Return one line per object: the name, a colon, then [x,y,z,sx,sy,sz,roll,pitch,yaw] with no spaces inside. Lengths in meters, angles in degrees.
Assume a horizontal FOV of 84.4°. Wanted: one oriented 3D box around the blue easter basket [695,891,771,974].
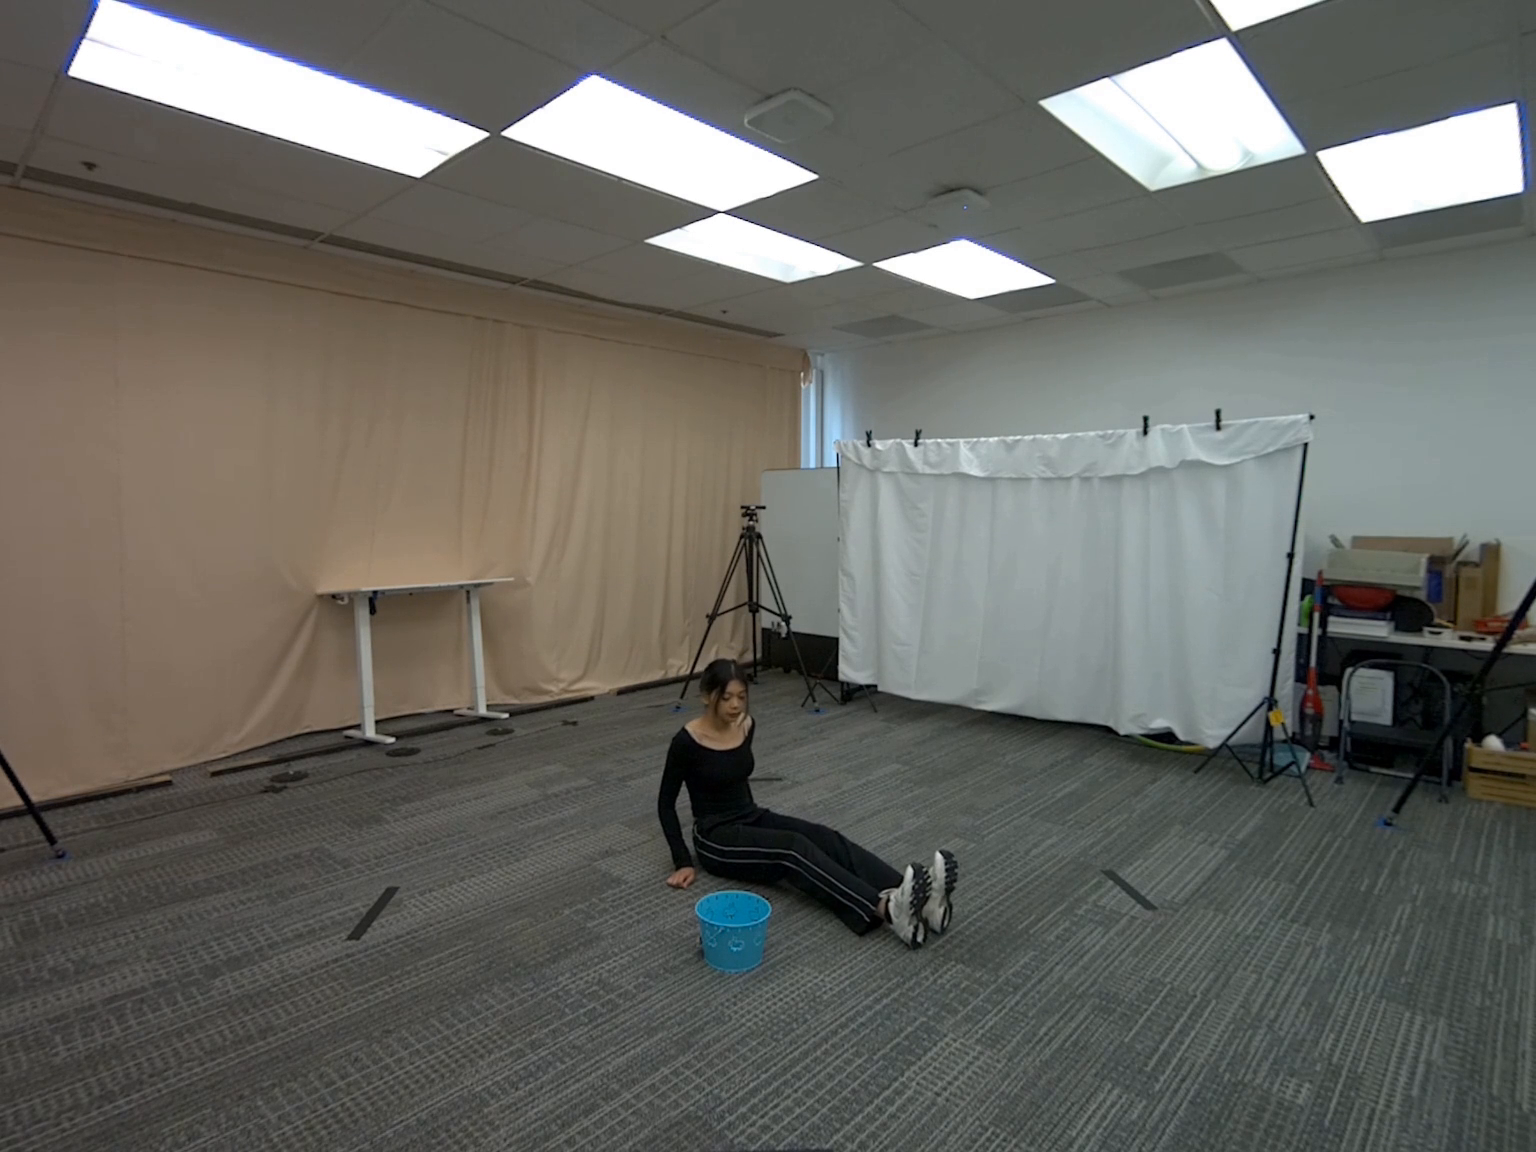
blue easter basket: [-0.110,1.087,2.607,0.243,0.155,0.244,-1,5,-2]
